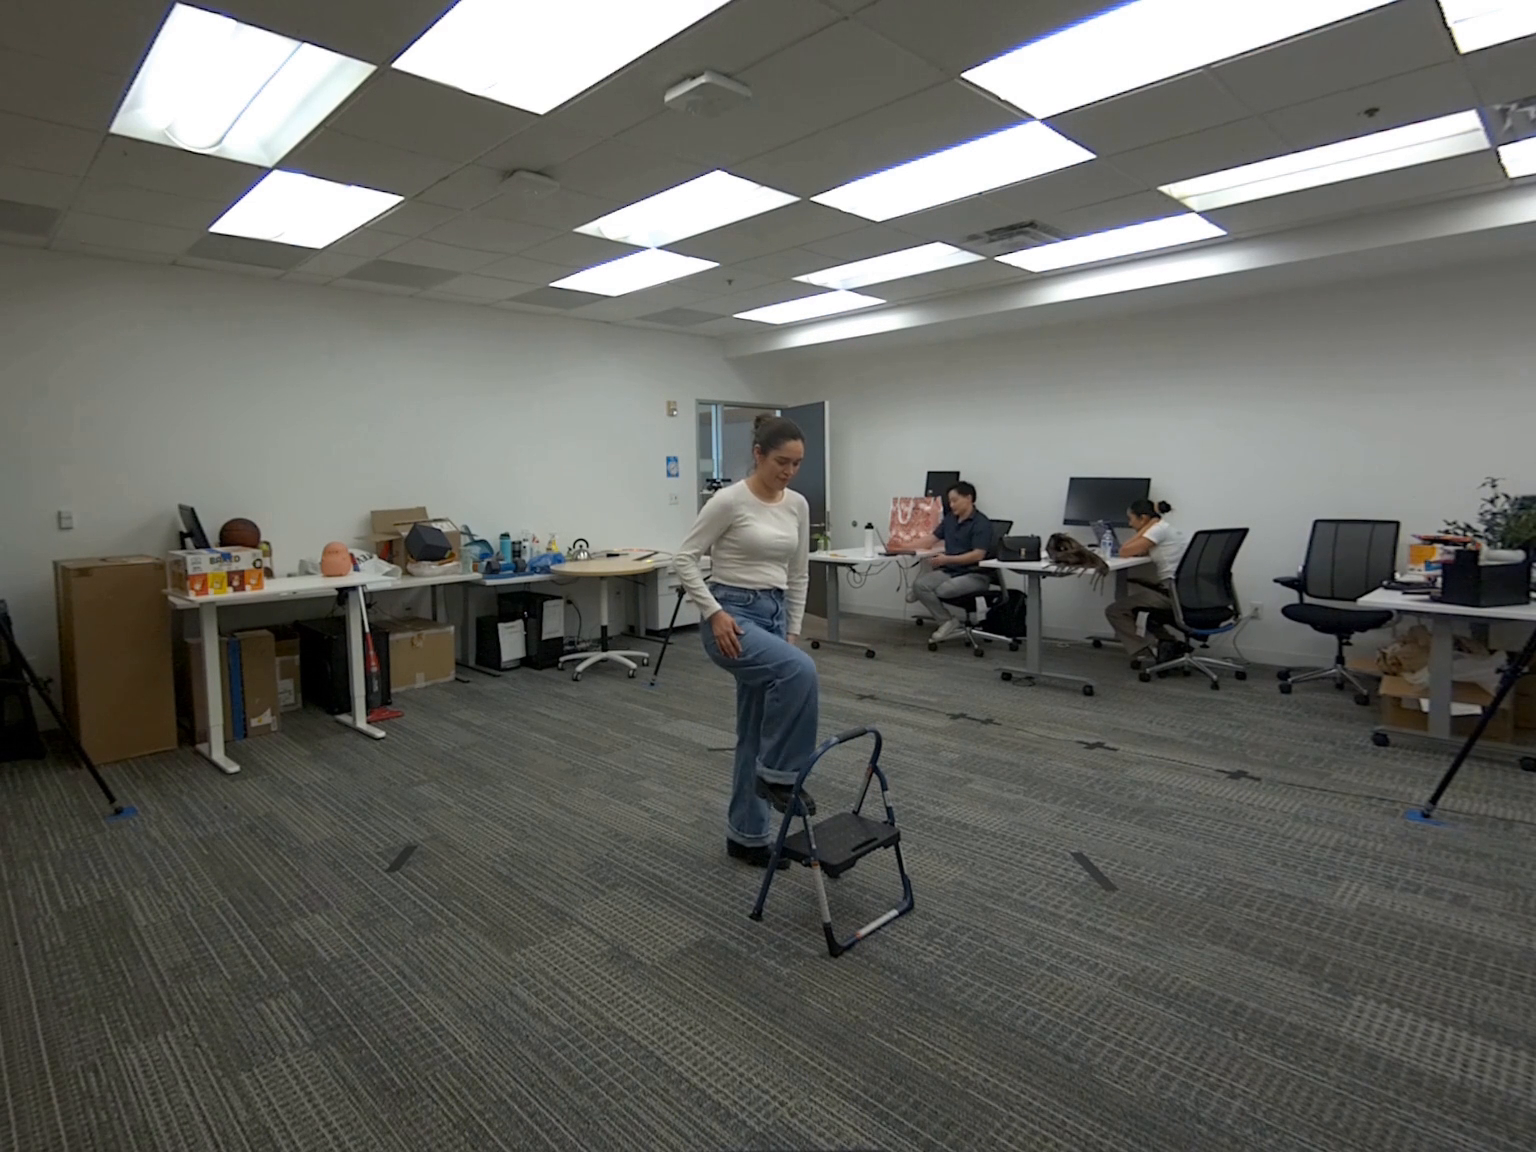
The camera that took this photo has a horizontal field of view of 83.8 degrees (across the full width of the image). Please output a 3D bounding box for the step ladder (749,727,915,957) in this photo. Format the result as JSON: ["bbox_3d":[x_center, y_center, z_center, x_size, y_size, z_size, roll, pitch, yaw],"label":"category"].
[{"bbox_3d":[0.205,0.778,2.729,0.360,0.604,0.419,3,6,44],"label":"step ladder"}]
